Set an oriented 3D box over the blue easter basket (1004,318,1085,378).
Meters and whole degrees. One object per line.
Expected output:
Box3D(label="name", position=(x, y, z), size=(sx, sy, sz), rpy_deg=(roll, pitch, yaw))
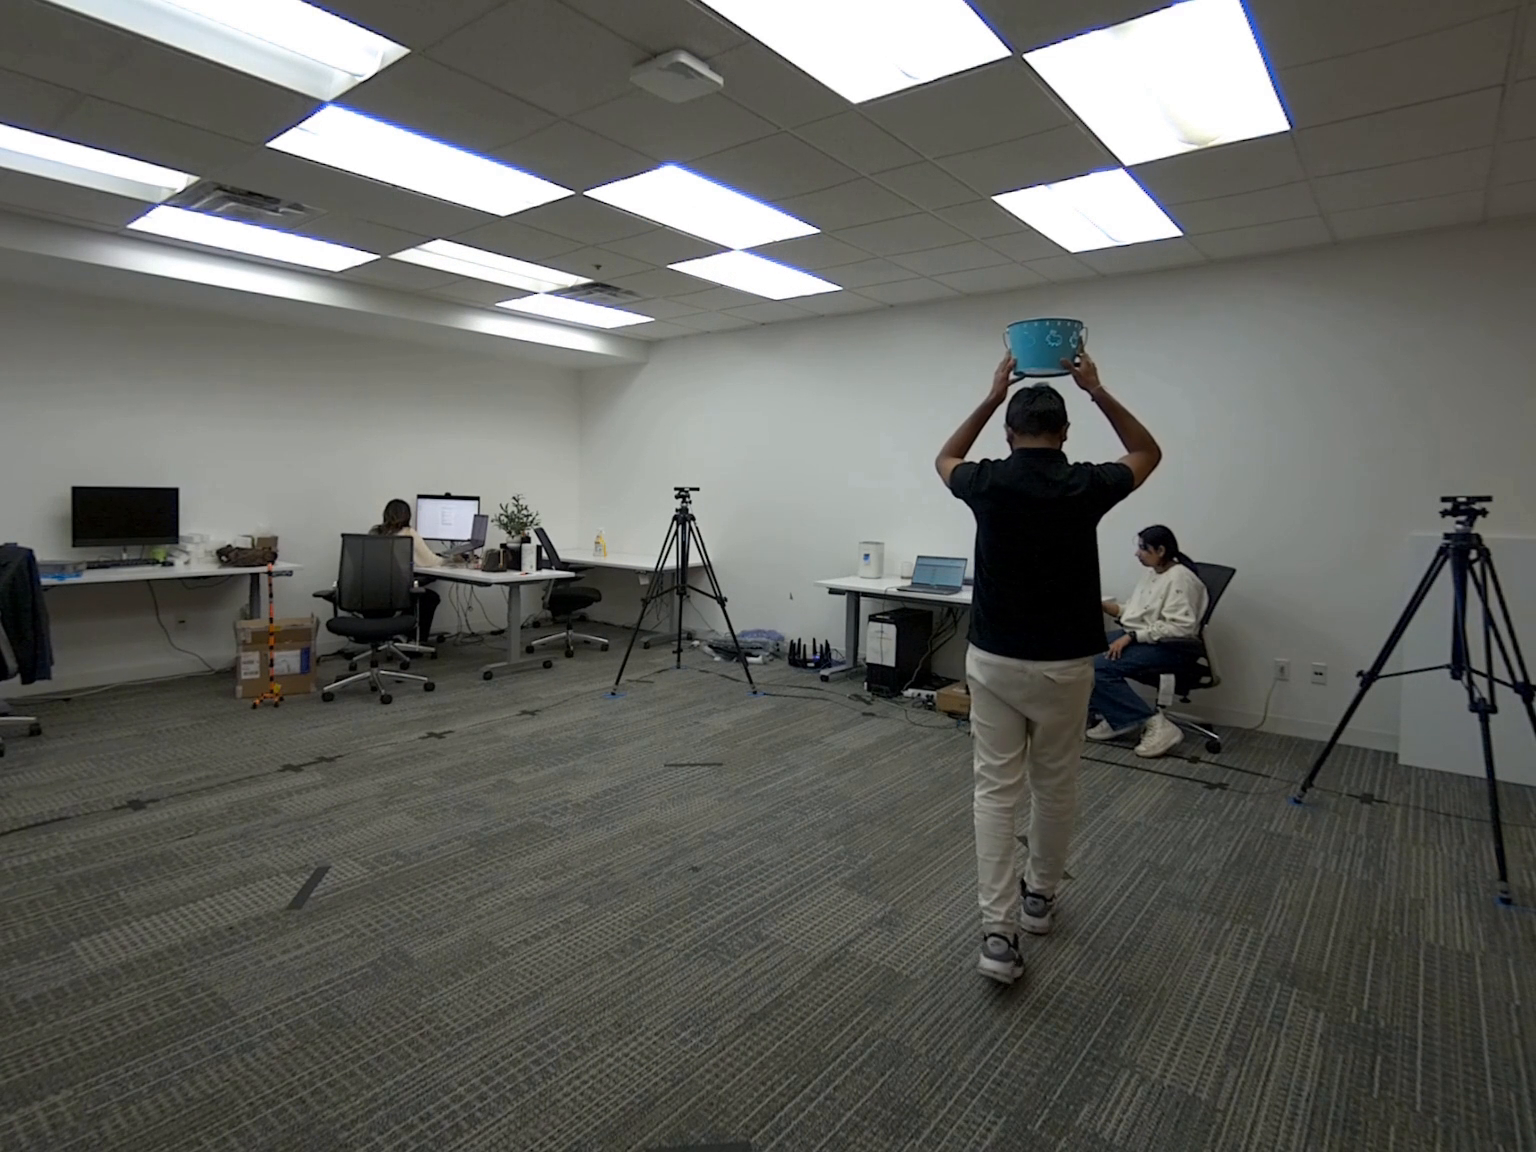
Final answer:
Box3D(label="blue easter basket", position=(0.886, -0.725, 2.693), size=(0.243, 0.155, 0.245), rpy_deg=(2, 6, -2))
